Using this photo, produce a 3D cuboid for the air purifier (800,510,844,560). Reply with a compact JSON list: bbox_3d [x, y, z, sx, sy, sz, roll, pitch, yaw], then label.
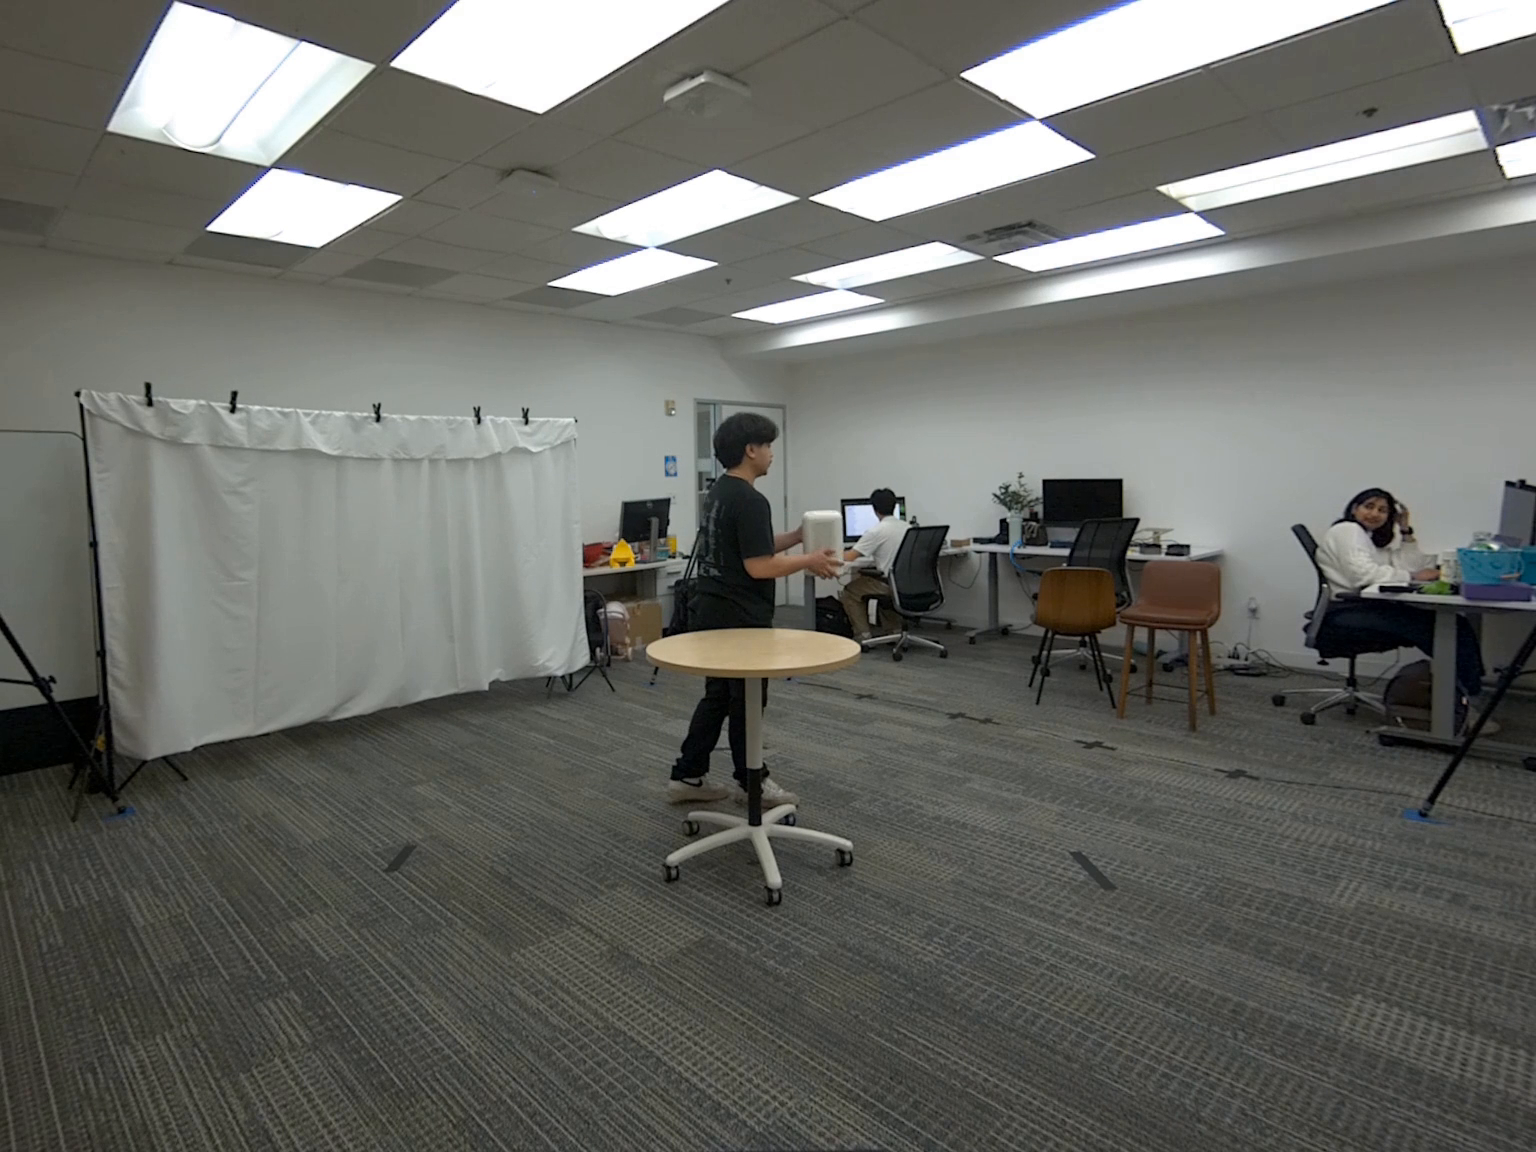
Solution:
[{"bbox_3d":[0.227,-0.143,3.654,0.173,0.263,0.171,-2,8,6],"label":"air purifier"}]
